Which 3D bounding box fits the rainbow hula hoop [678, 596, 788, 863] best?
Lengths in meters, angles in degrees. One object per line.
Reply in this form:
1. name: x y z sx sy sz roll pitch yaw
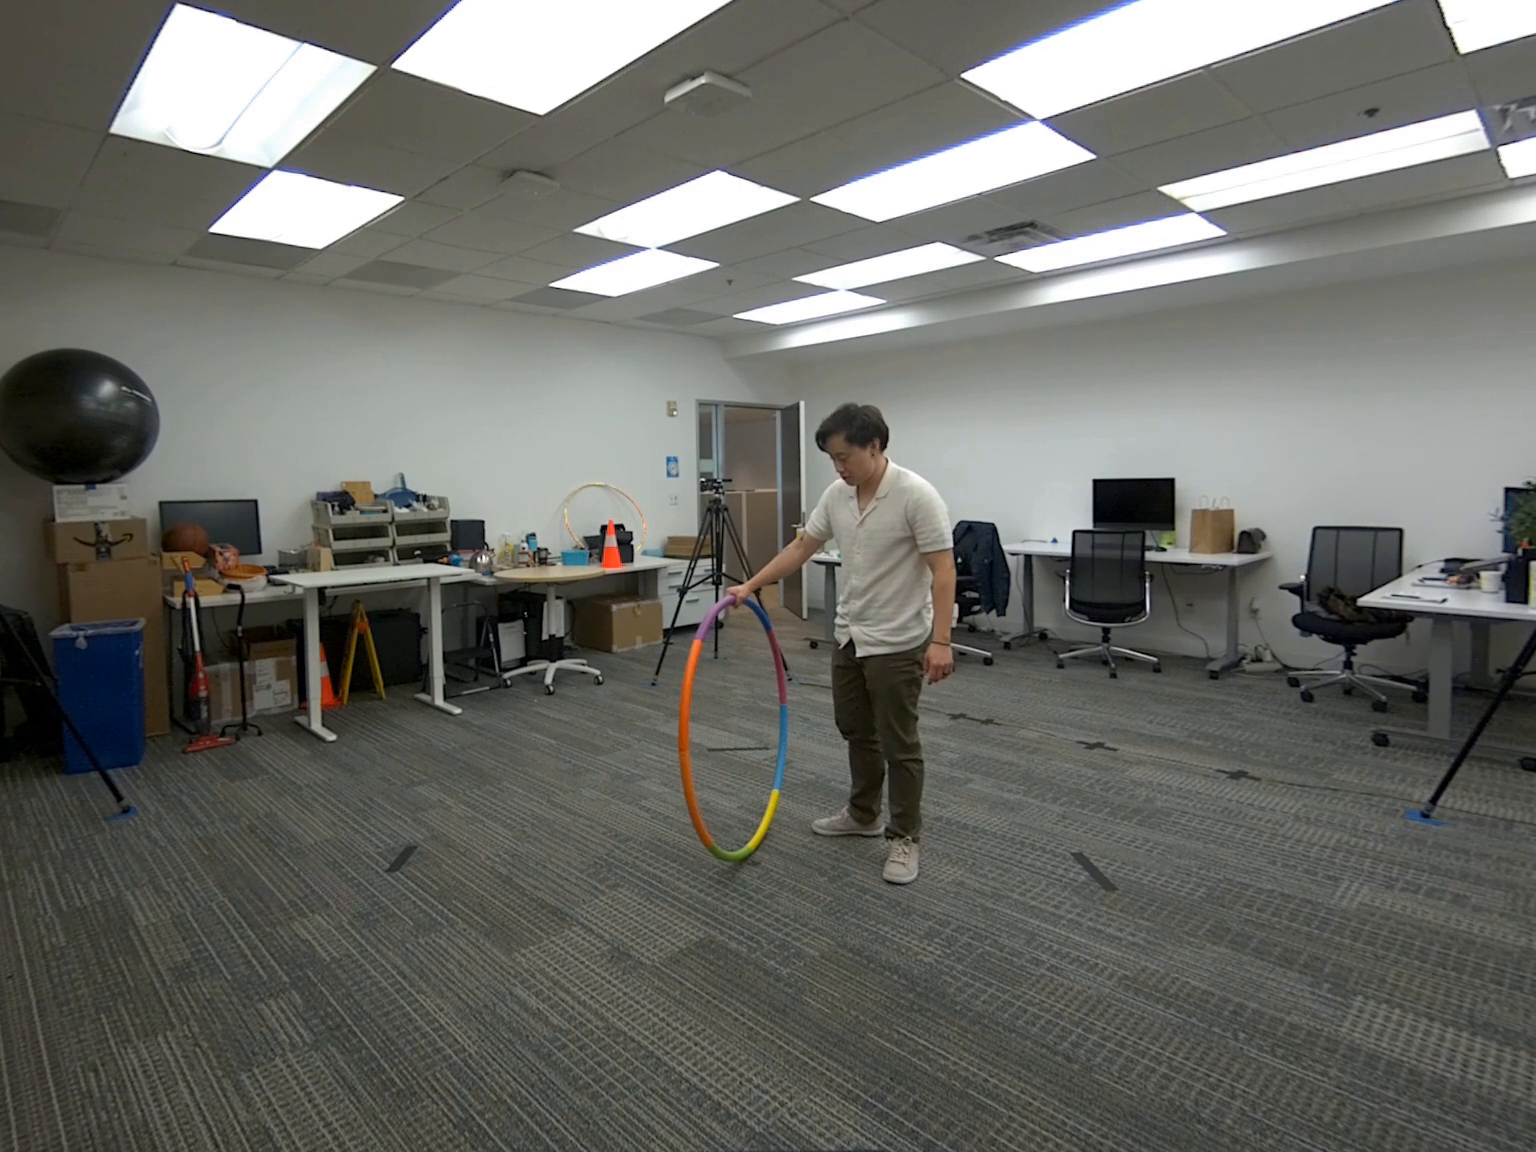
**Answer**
1. rainbow hula hoop: -0.102 0.555 3.200 0.036 0.977 0.963 -6 3 20
